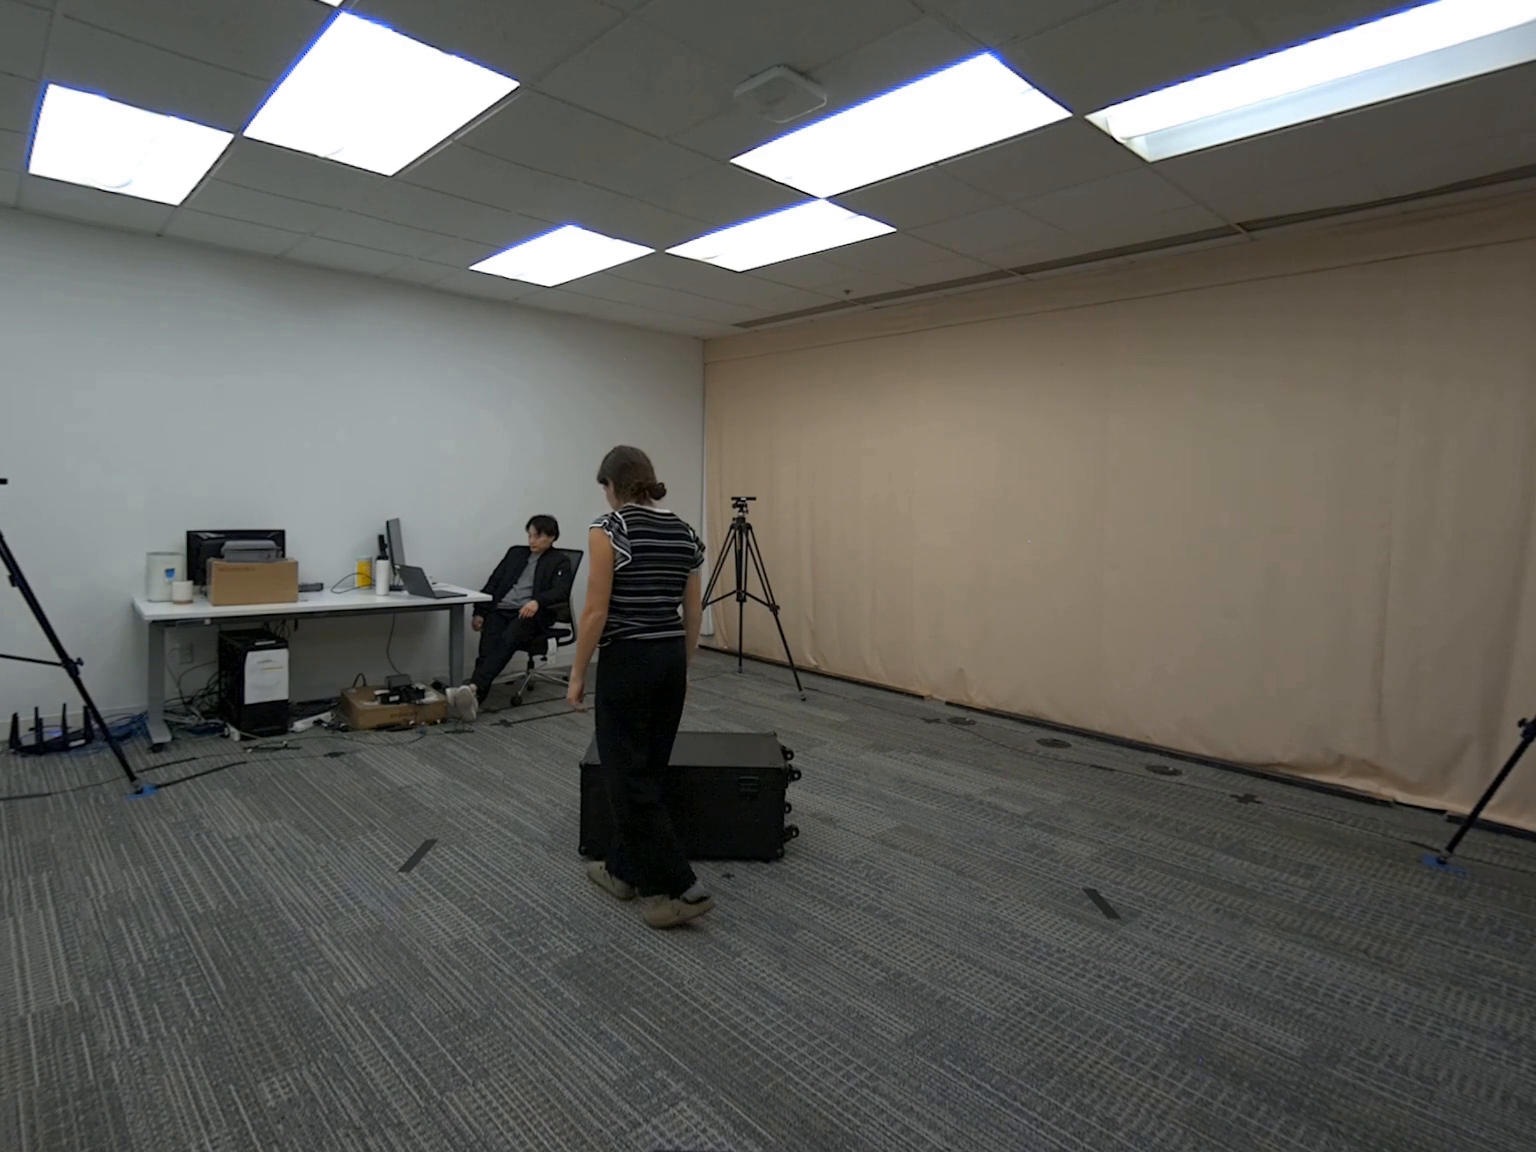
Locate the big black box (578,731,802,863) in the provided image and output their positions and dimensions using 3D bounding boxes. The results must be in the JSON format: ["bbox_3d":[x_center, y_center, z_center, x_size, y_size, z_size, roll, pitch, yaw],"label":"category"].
[{"bbox_3d":[-0.314,0.881,3.430,0.859,0.395,0.524,1,5,-3],"label":"big black box"}]
